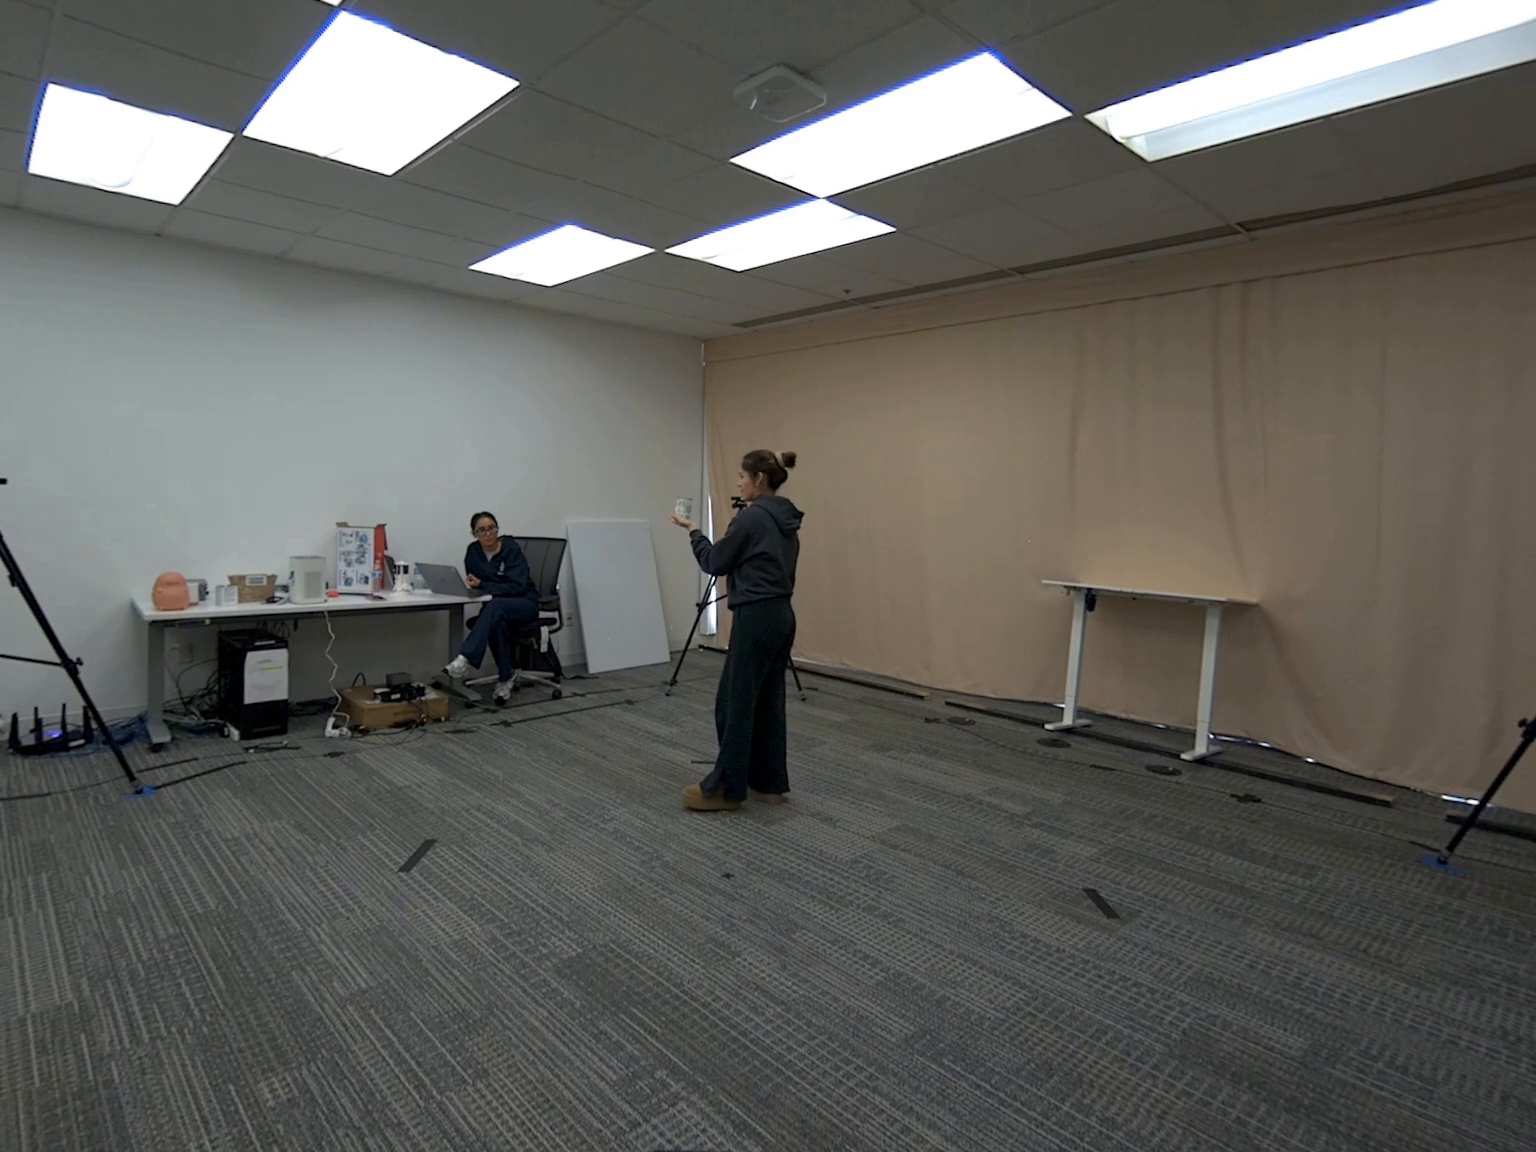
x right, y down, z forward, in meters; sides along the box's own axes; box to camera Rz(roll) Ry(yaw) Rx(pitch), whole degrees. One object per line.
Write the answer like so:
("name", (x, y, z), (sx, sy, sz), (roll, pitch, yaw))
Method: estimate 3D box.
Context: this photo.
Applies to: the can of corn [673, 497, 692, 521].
("can of corn", (-0.409, -0.317, 3.964), (0.074, 0.111, 0.074), (5, 3, -2))
